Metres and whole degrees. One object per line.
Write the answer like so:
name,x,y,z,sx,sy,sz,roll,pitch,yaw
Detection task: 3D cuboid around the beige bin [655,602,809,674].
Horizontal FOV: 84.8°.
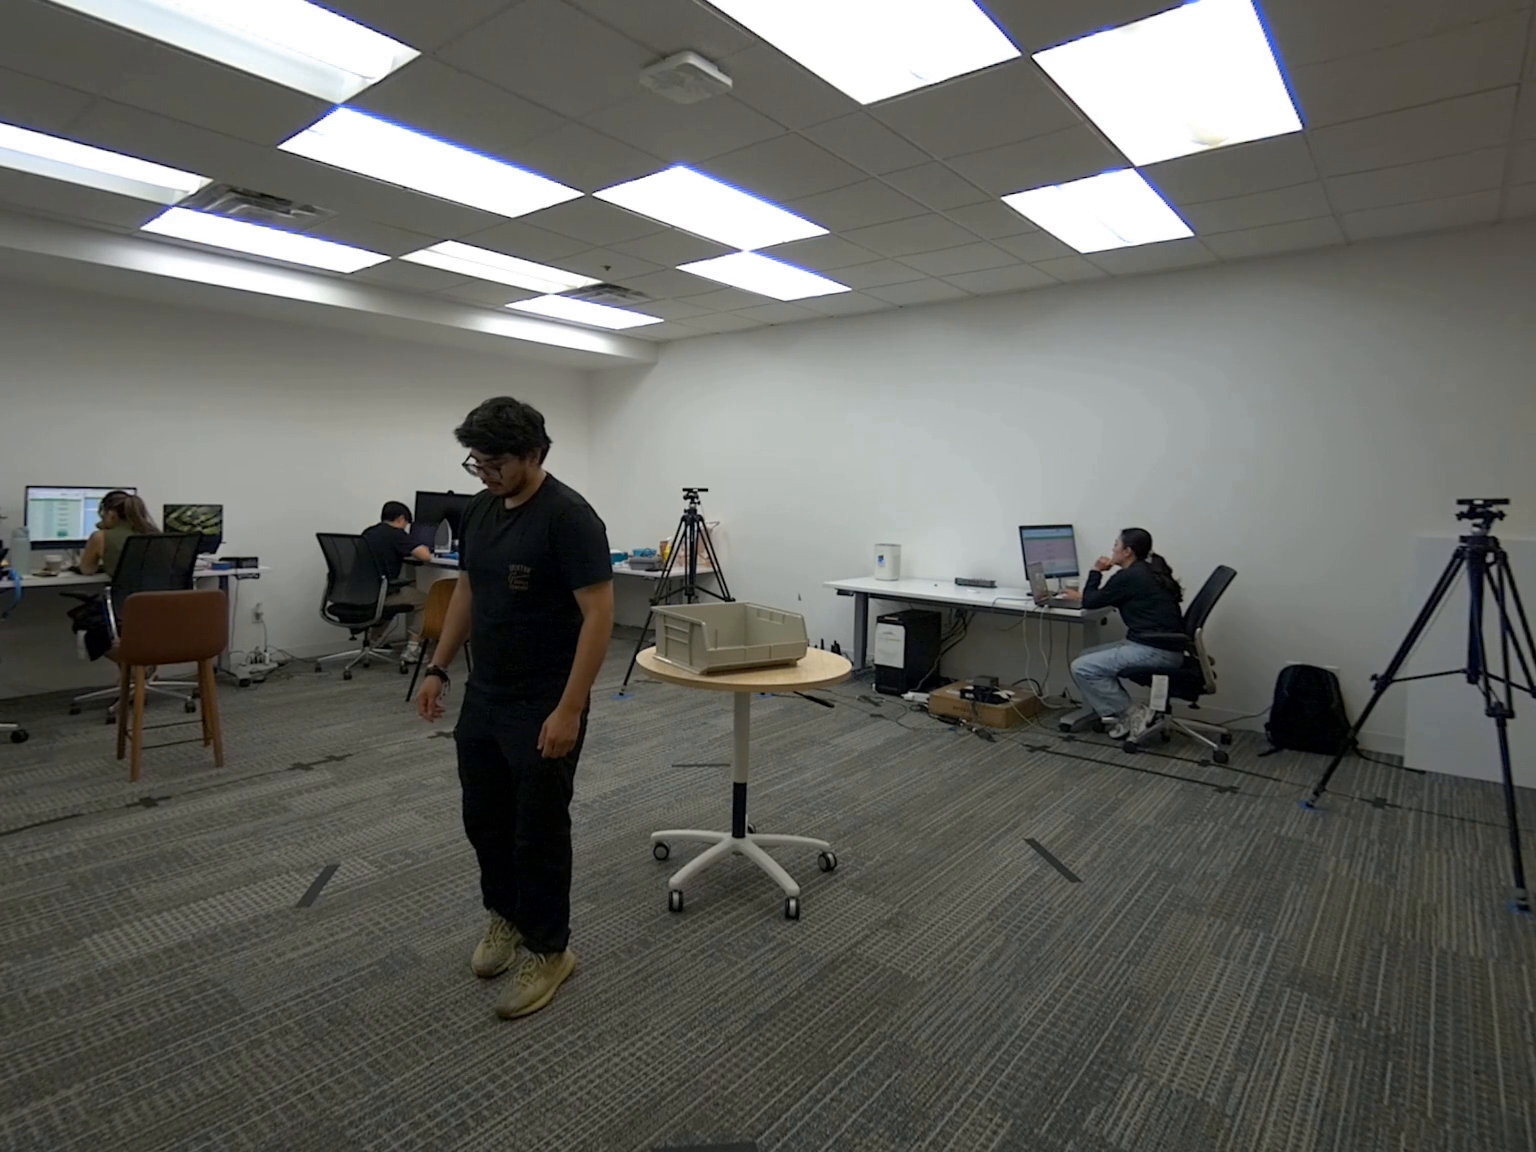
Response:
beige bin,-0.146,0.210,2.975,0.410,0.188,0.389,-3,6,-35
